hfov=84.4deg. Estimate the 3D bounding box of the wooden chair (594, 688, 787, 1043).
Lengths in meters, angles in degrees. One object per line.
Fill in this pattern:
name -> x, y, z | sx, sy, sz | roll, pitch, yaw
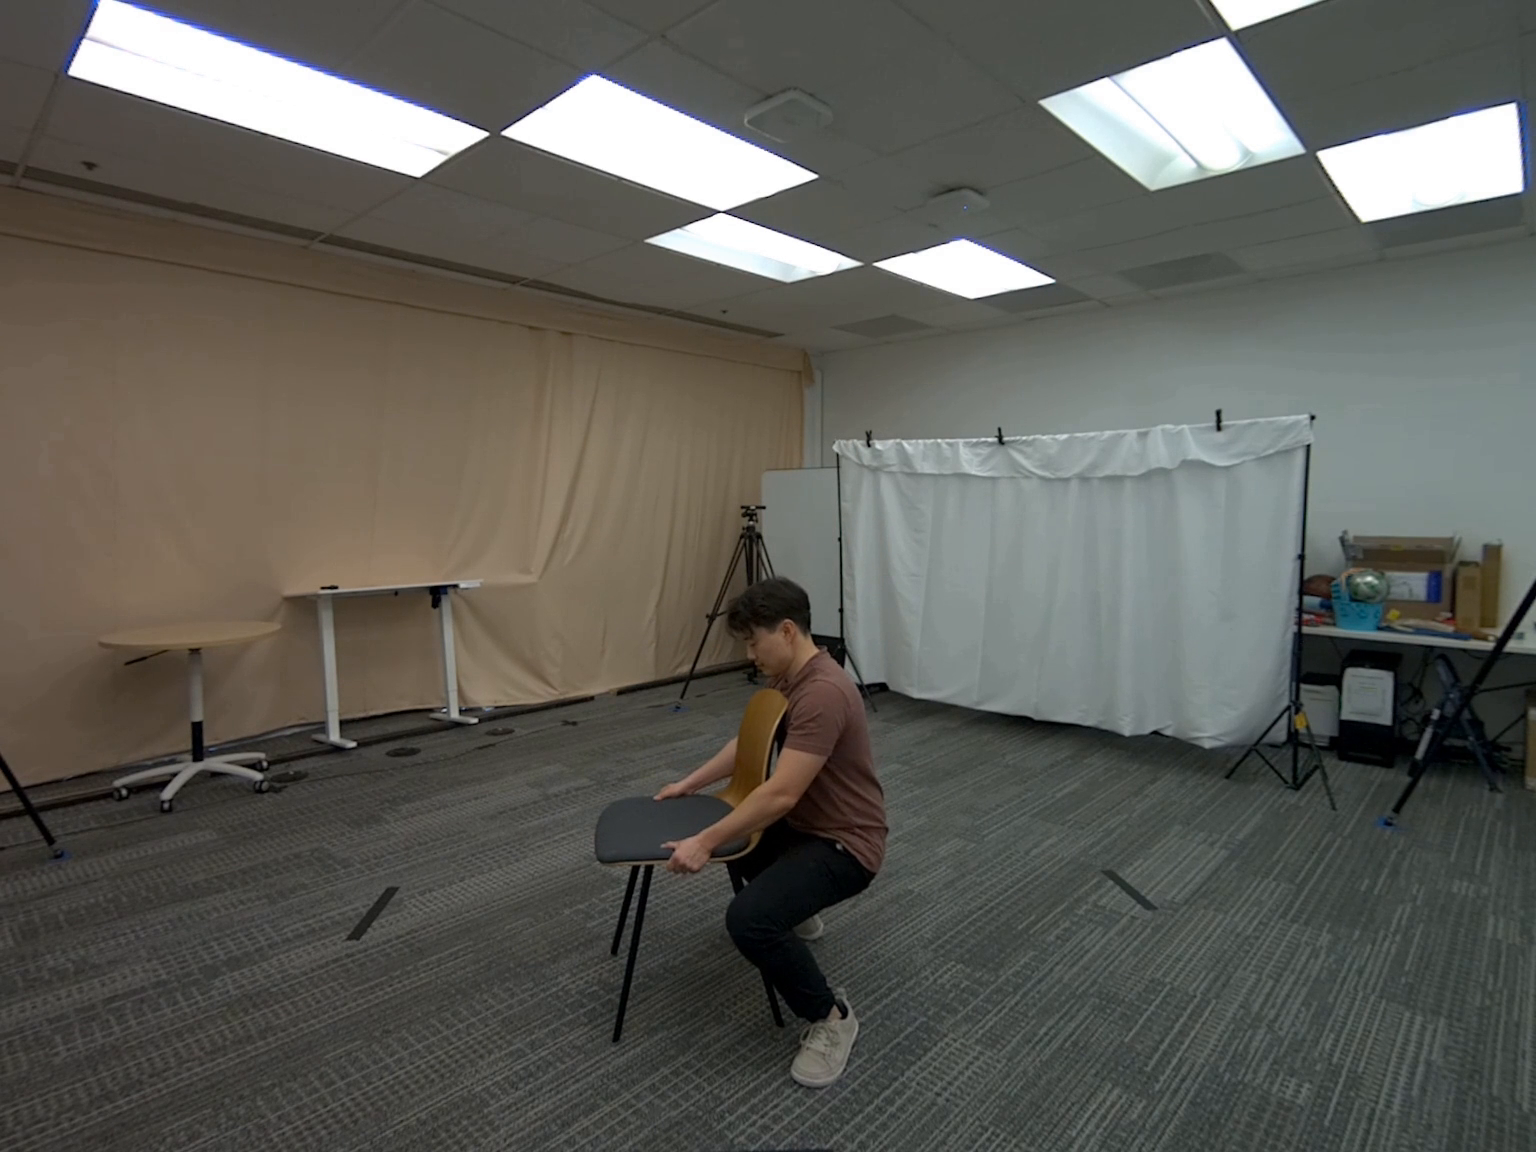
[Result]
wooden chair -> -0.242, 0.769, 2.407 | 0.518, 0.875, 0.484 | 3, 4, -10
